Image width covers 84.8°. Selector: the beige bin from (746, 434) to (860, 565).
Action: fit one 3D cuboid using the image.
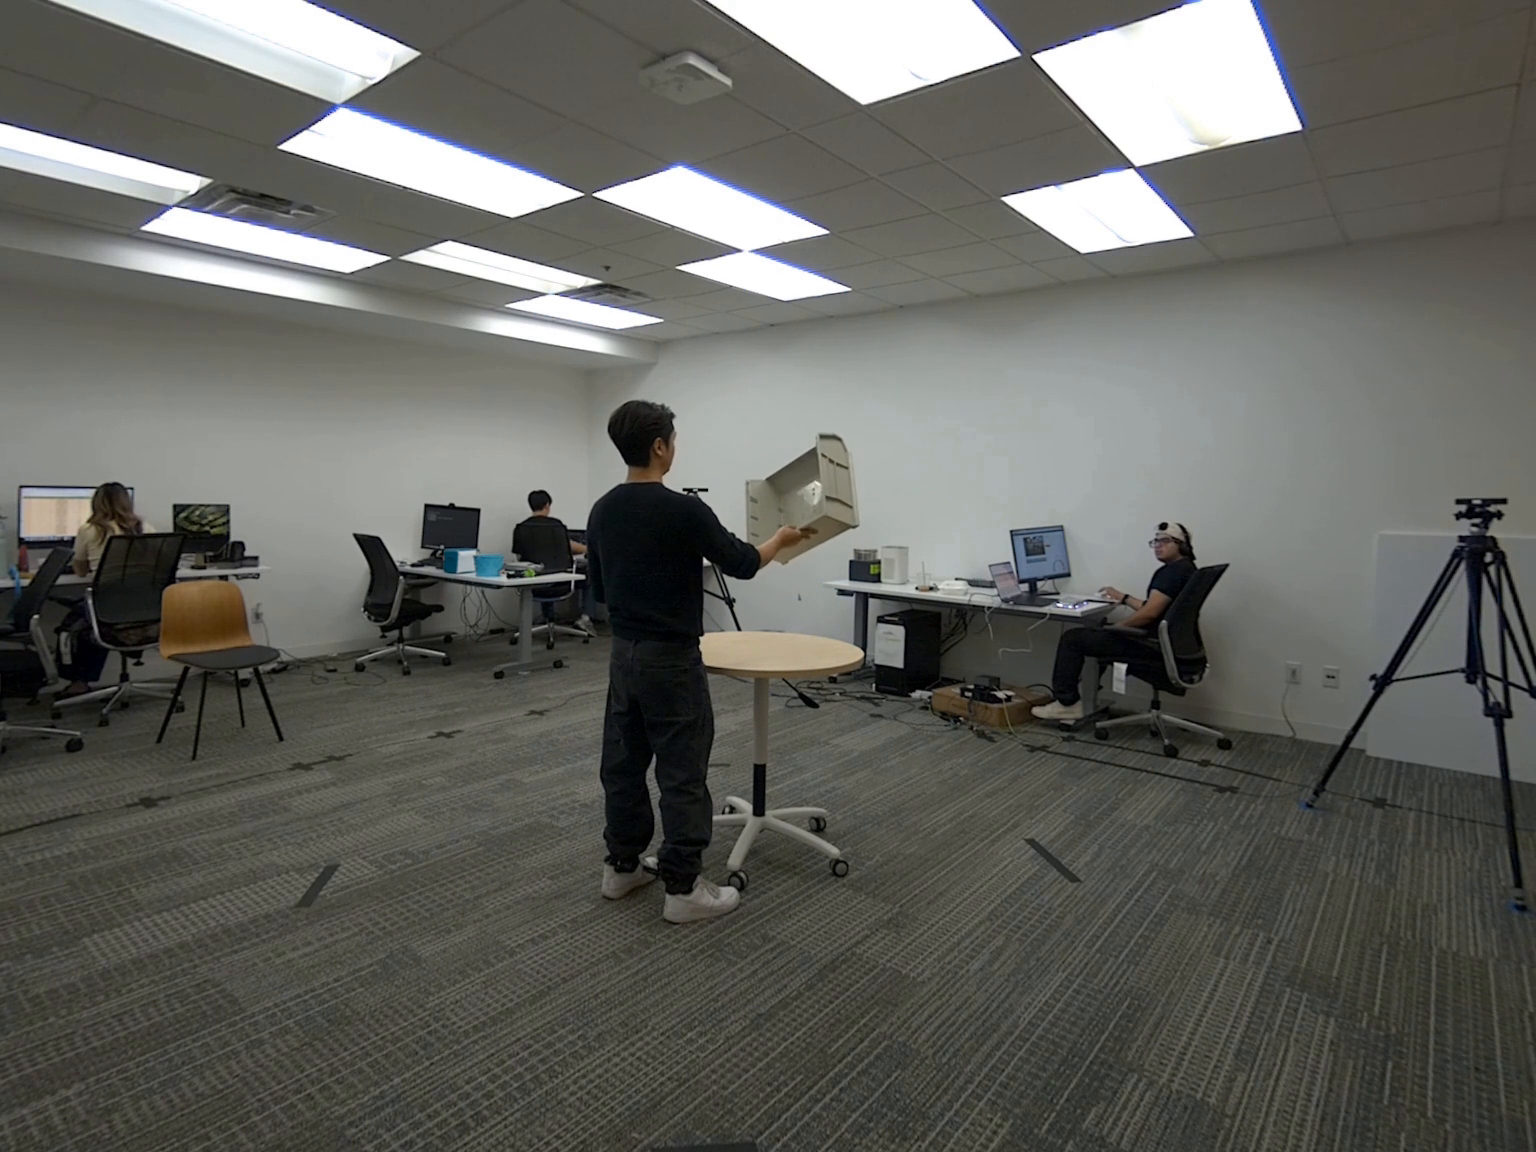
[{"bbox_3d":[0.109,-0.289,3.214,0.182,0.387,0.427,17,-33,-37],"label":"beige bin"}]
